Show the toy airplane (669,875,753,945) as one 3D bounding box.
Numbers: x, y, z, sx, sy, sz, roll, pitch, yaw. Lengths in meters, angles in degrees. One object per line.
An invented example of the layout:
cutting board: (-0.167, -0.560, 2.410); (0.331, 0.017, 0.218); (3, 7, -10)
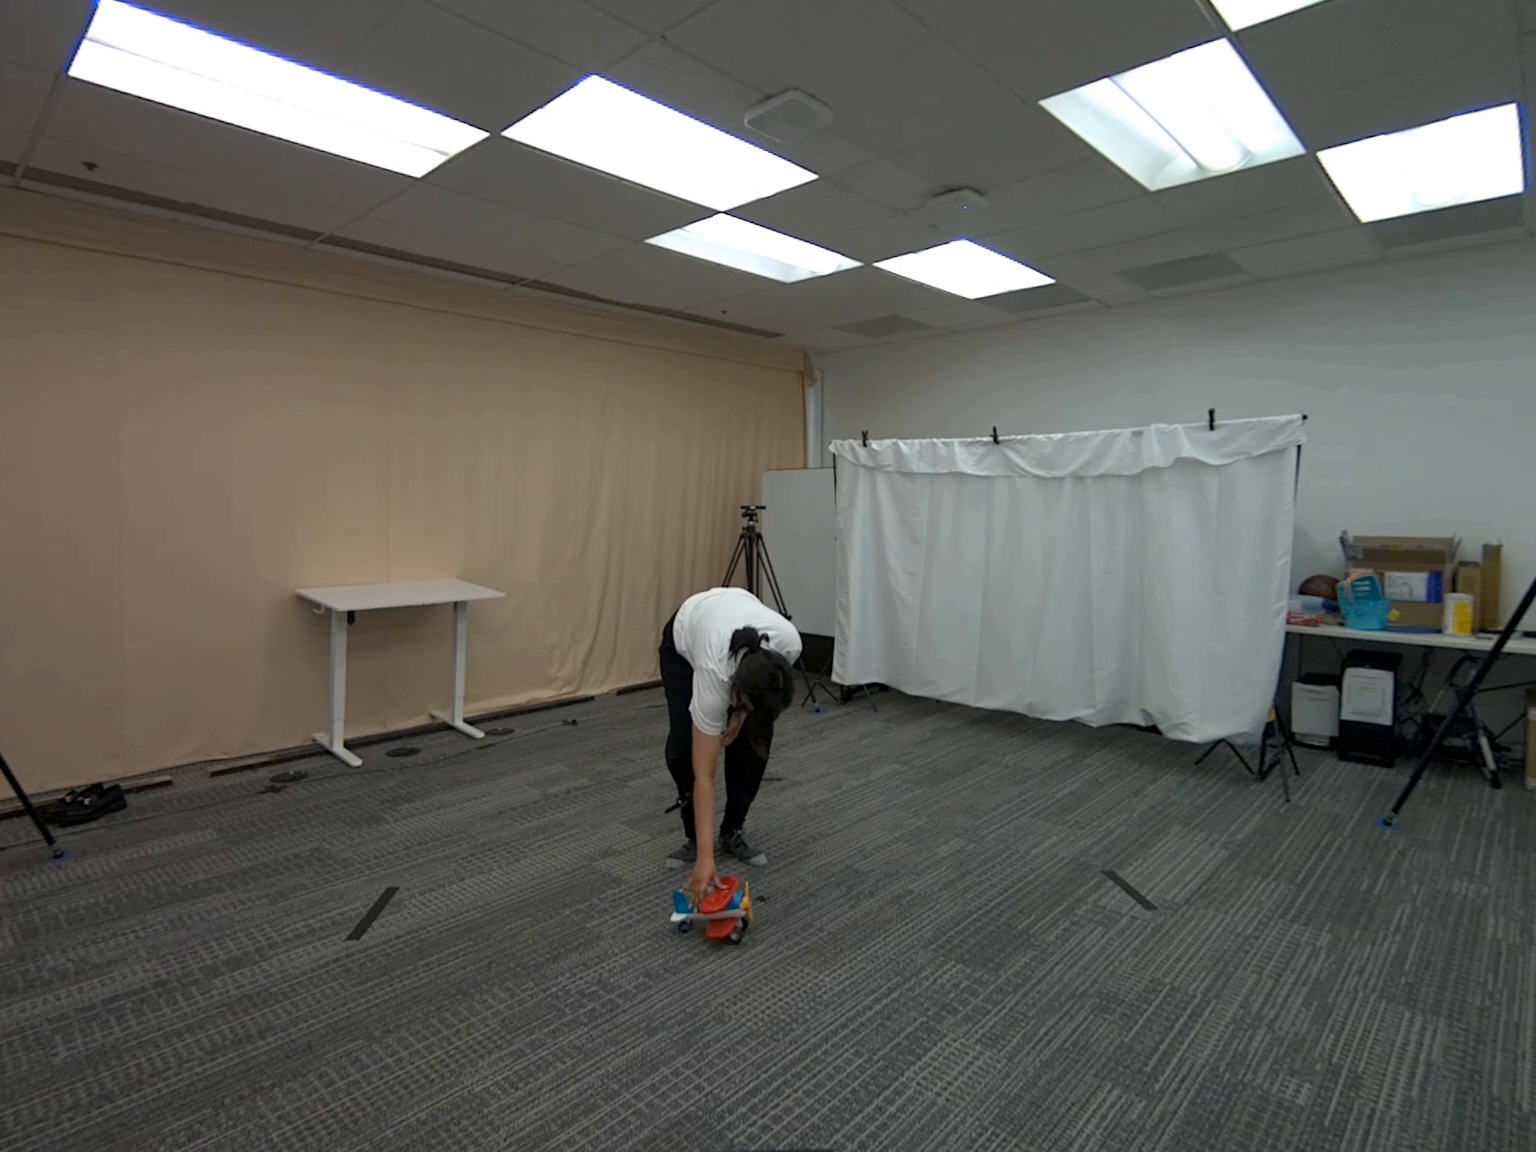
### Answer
toy airplane: (-0.184, 1.086, 2.721); (0.256, 0.156, 0.255); (0, 5, -14)
